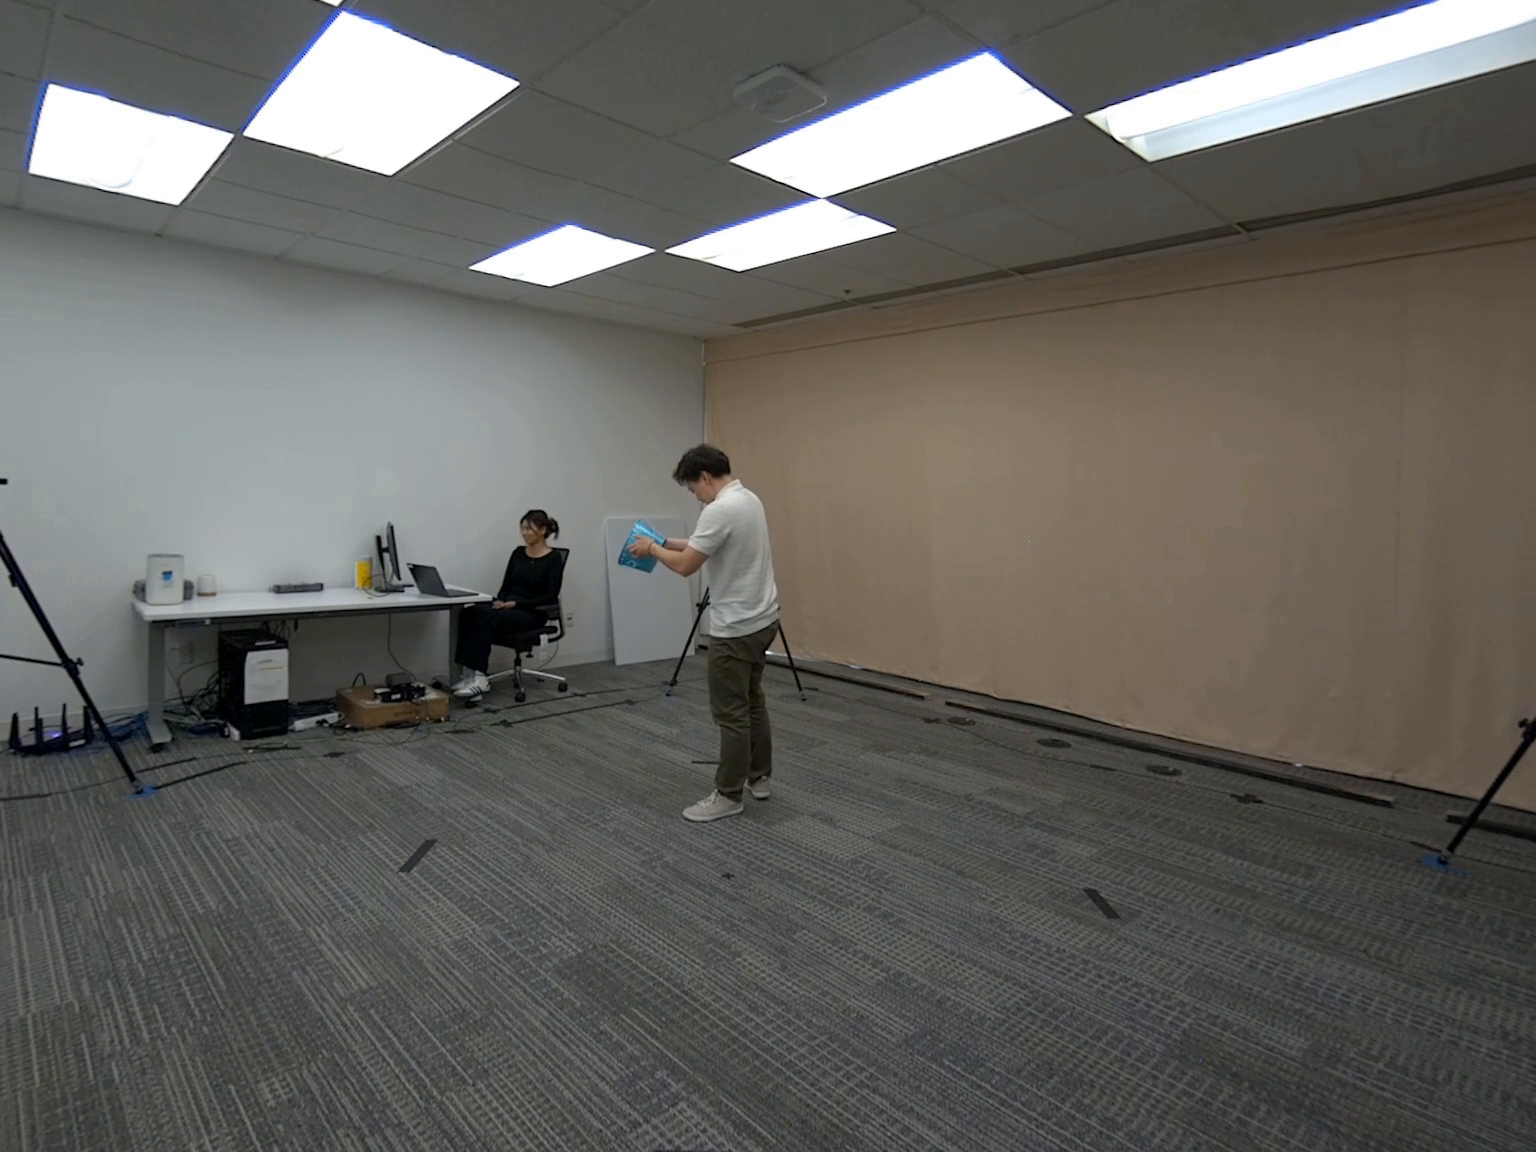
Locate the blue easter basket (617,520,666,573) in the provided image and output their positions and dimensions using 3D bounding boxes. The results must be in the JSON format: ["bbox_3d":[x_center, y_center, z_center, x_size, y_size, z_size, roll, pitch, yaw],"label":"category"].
[{"bbox_3d":[-0.589,-0.126,3.931,0.156,0.243,0.243,23,5,1],"label":"blue easter basket"}]
